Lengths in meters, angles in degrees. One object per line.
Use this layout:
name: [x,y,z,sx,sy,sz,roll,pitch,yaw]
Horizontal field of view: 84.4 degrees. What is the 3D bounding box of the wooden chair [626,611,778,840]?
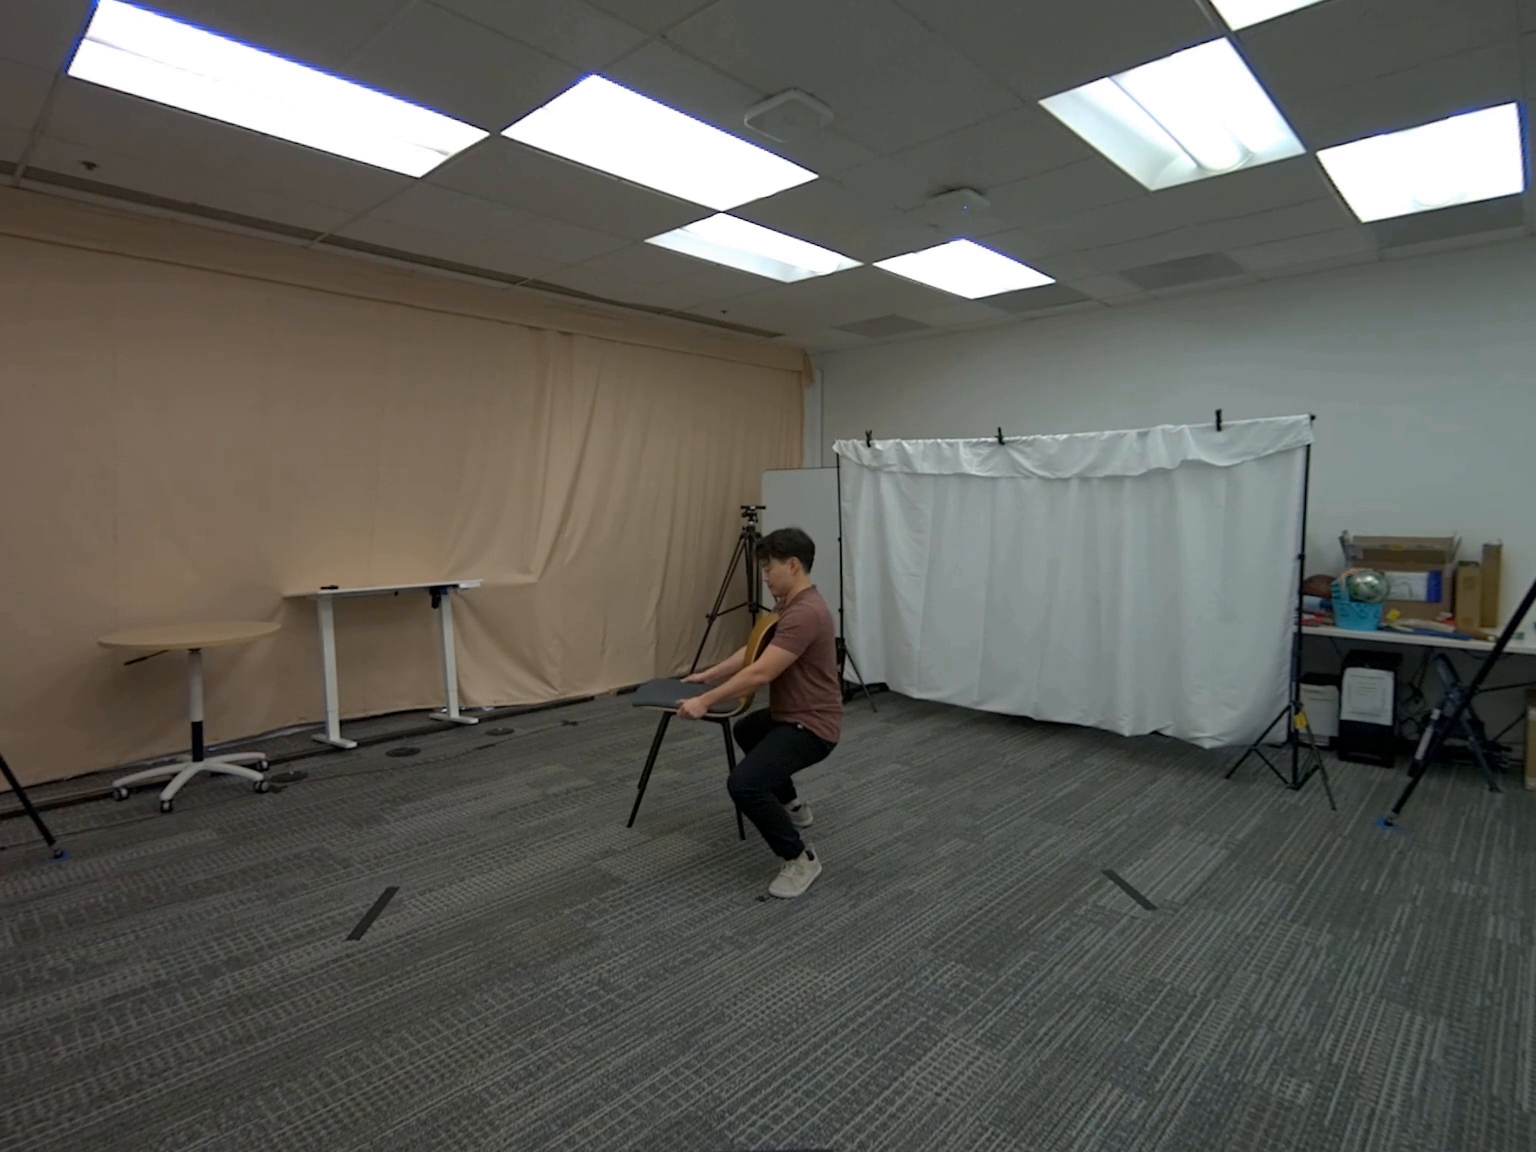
wooden chair: [-0.291,0.545,3.404,0.523,0.875,0.480,10,5,-2]
